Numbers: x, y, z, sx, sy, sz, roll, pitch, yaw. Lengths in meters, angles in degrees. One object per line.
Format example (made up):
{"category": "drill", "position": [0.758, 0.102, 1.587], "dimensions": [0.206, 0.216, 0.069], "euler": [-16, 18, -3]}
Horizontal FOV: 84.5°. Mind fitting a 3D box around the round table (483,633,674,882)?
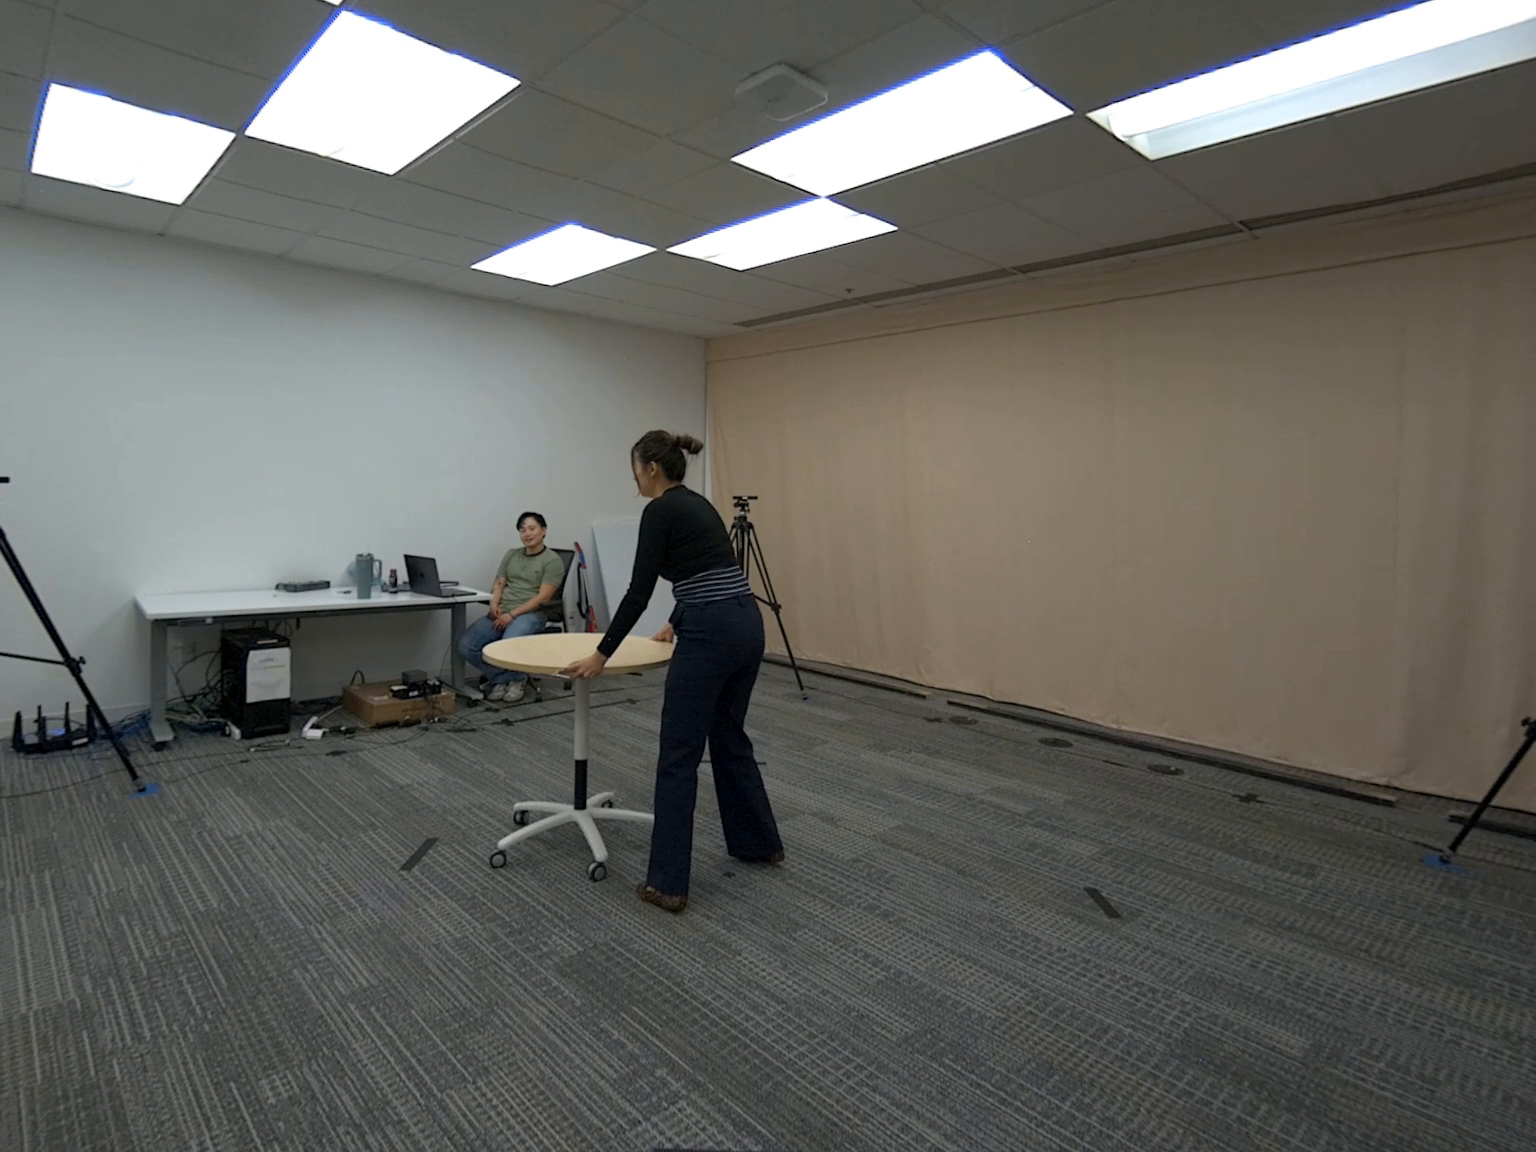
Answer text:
{"category": "round table", "position": [-0.746, 0.680, 3.336], "dimensions": [0.763, 0.792, 0.766], "euler": [1, 4, -1]}
